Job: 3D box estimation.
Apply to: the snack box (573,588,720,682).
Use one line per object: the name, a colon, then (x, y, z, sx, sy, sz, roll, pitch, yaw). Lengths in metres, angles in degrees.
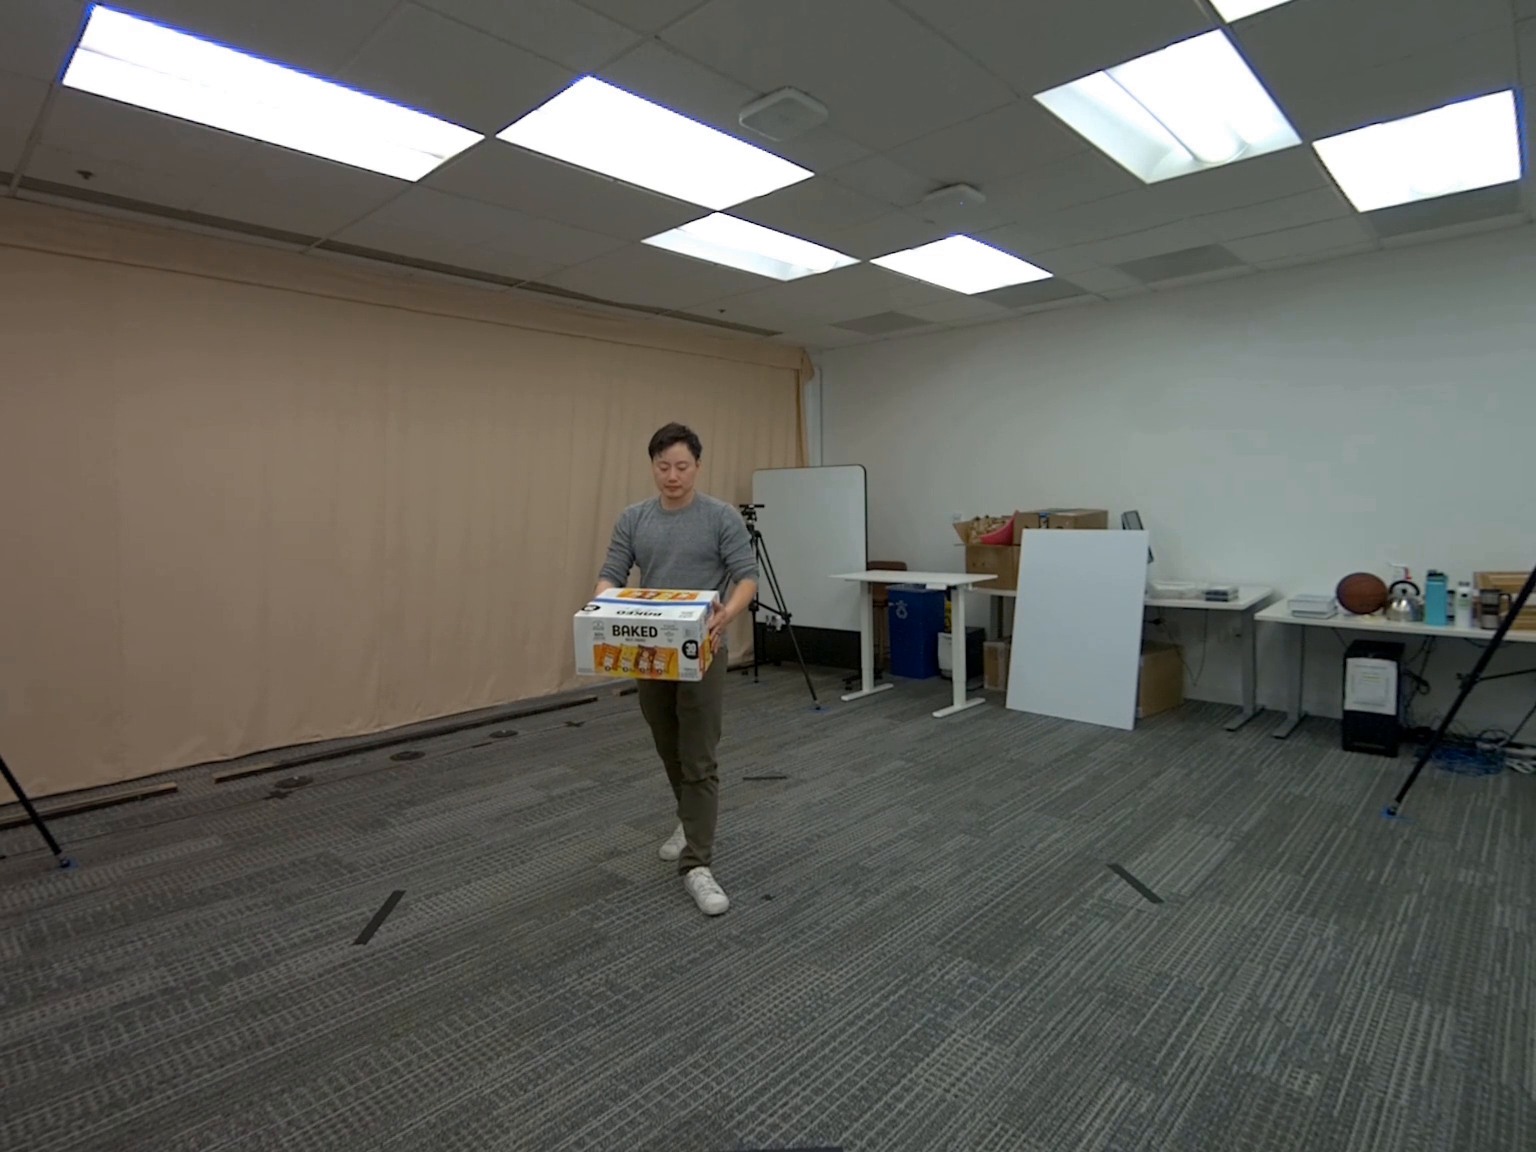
snack box: (-0.388, 0.183, 2.794, 0.410, 0.204, 0.339, 1, 13, 10)
